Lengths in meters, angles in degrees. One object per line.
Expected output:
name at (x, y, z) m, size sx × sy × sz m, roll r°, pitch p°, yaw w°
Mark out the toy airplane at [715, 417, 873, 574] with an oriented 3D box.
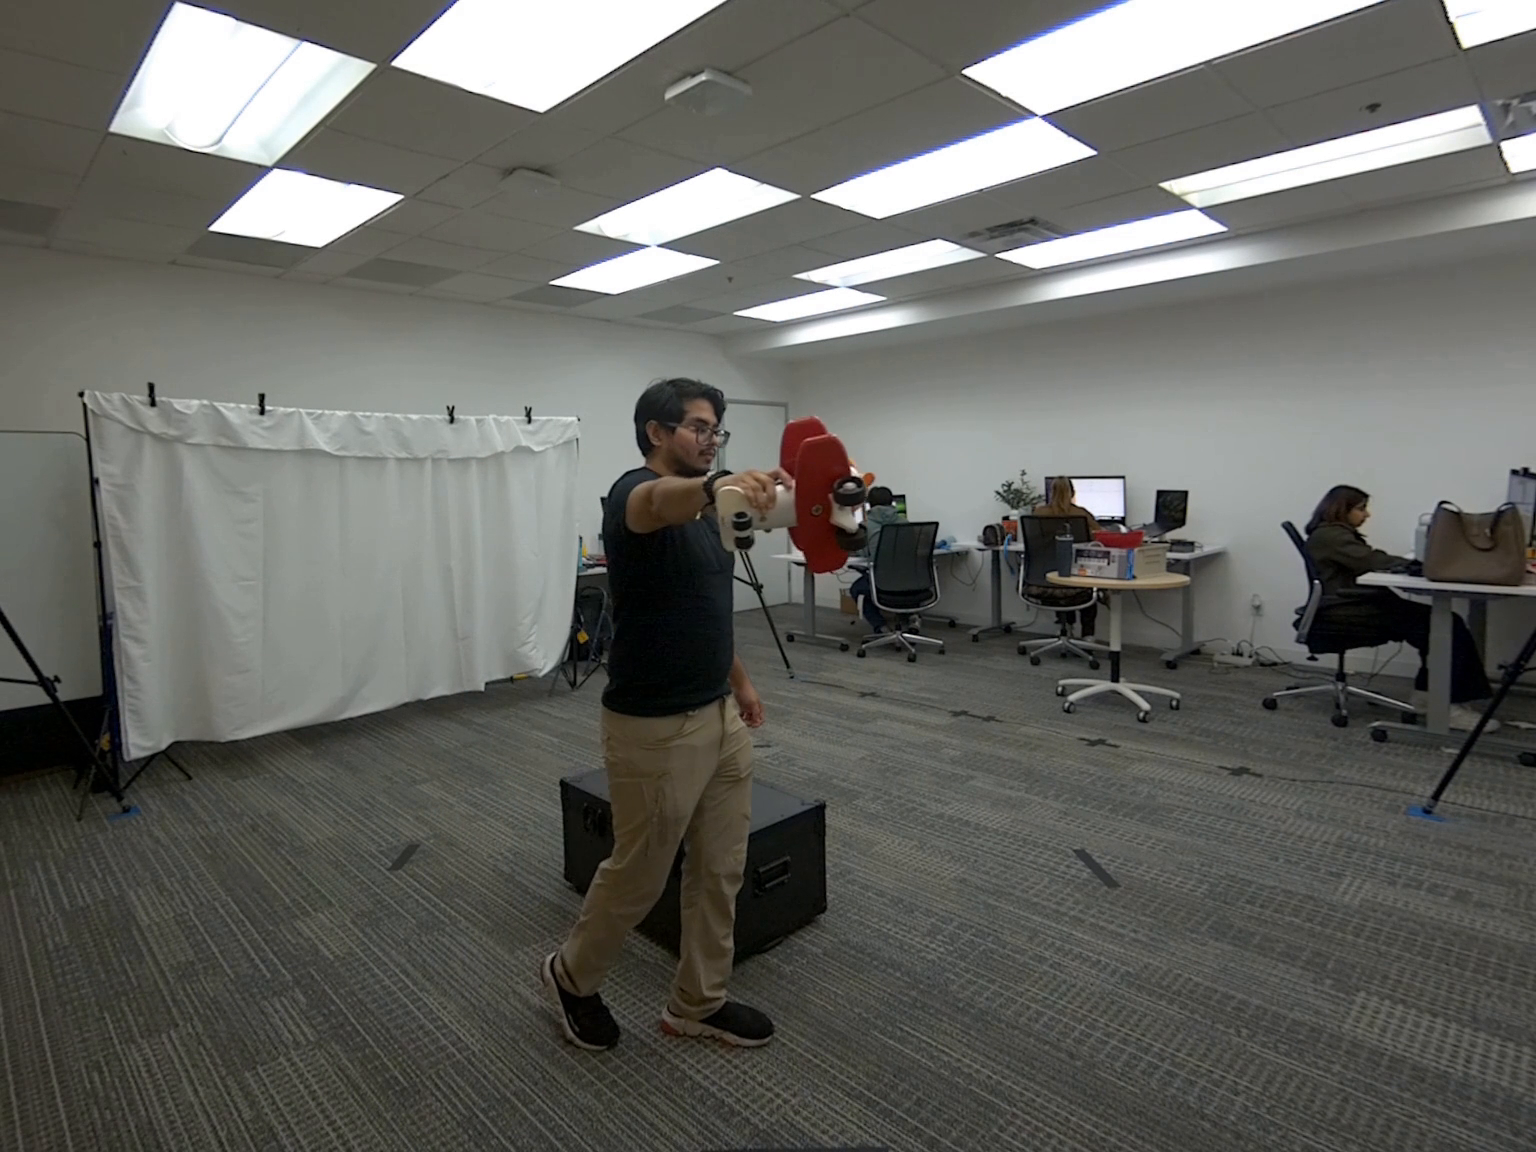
toy airplane at (0.046, -0.134, 1.399) m, size 0.255 × 0.249 × 0.160 m, roll 19°, pitch 25°, yaw -12°
